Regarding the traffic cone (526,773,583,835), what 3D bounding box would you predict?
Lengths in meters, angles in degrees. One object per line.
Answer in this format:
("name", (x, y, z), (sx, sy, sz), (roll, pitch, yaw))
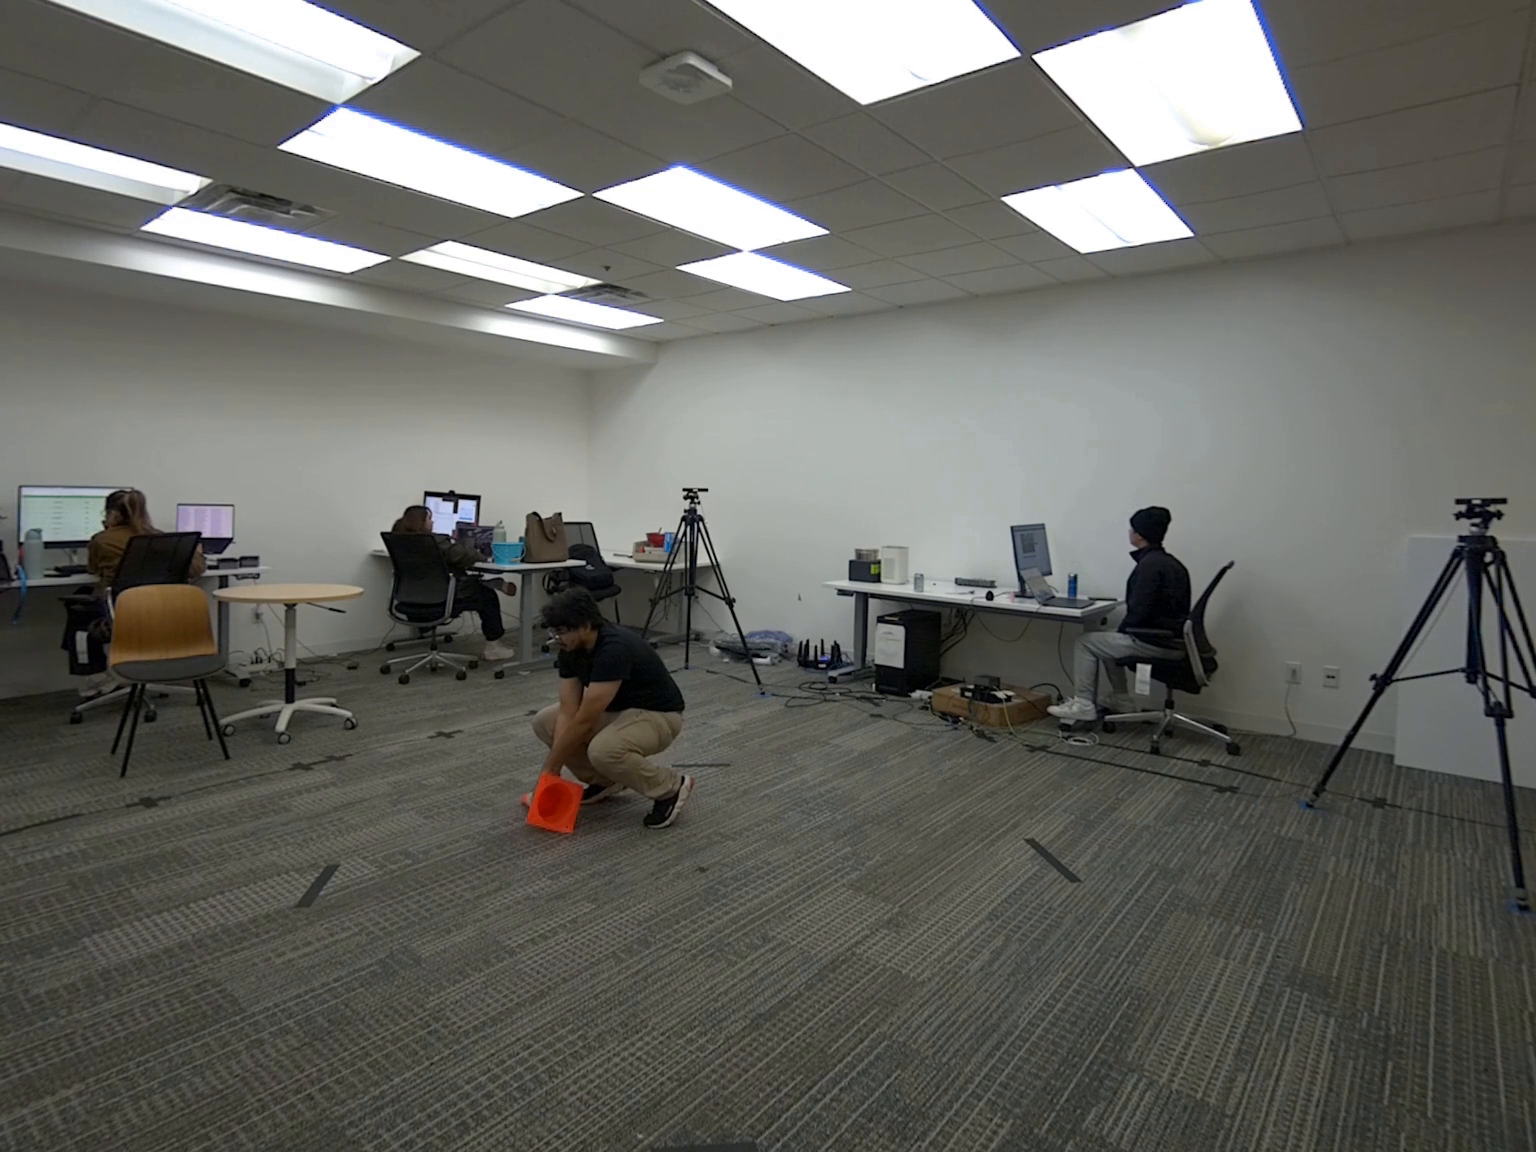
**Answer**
("traffic cone", (-0.968, 0.961, 3.608), (0.198, 0.207, 0.388), (28, -25, -20))
